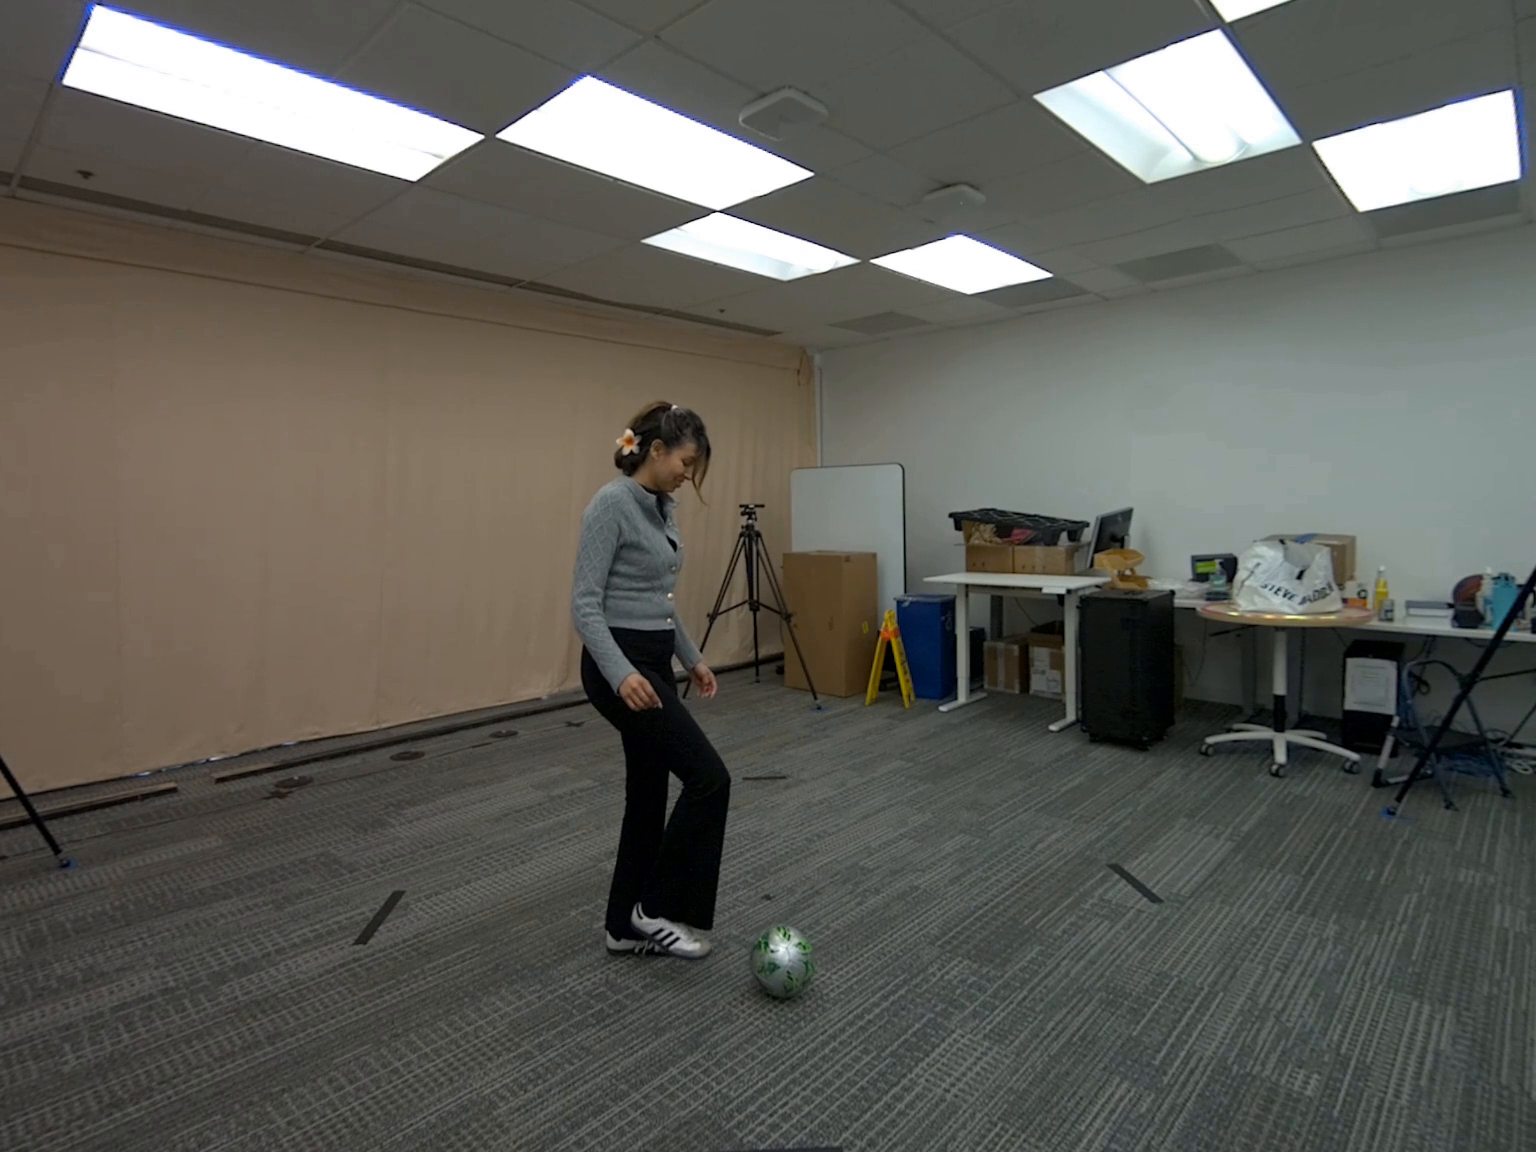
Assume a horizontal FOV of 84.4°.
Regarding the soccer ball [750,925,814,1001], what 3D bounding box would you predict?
[{"bbox_3d":[0.044,1.100,2.393,0.187,0.187,0.188,-1,4,-2],"label":"soccer ball"}]
